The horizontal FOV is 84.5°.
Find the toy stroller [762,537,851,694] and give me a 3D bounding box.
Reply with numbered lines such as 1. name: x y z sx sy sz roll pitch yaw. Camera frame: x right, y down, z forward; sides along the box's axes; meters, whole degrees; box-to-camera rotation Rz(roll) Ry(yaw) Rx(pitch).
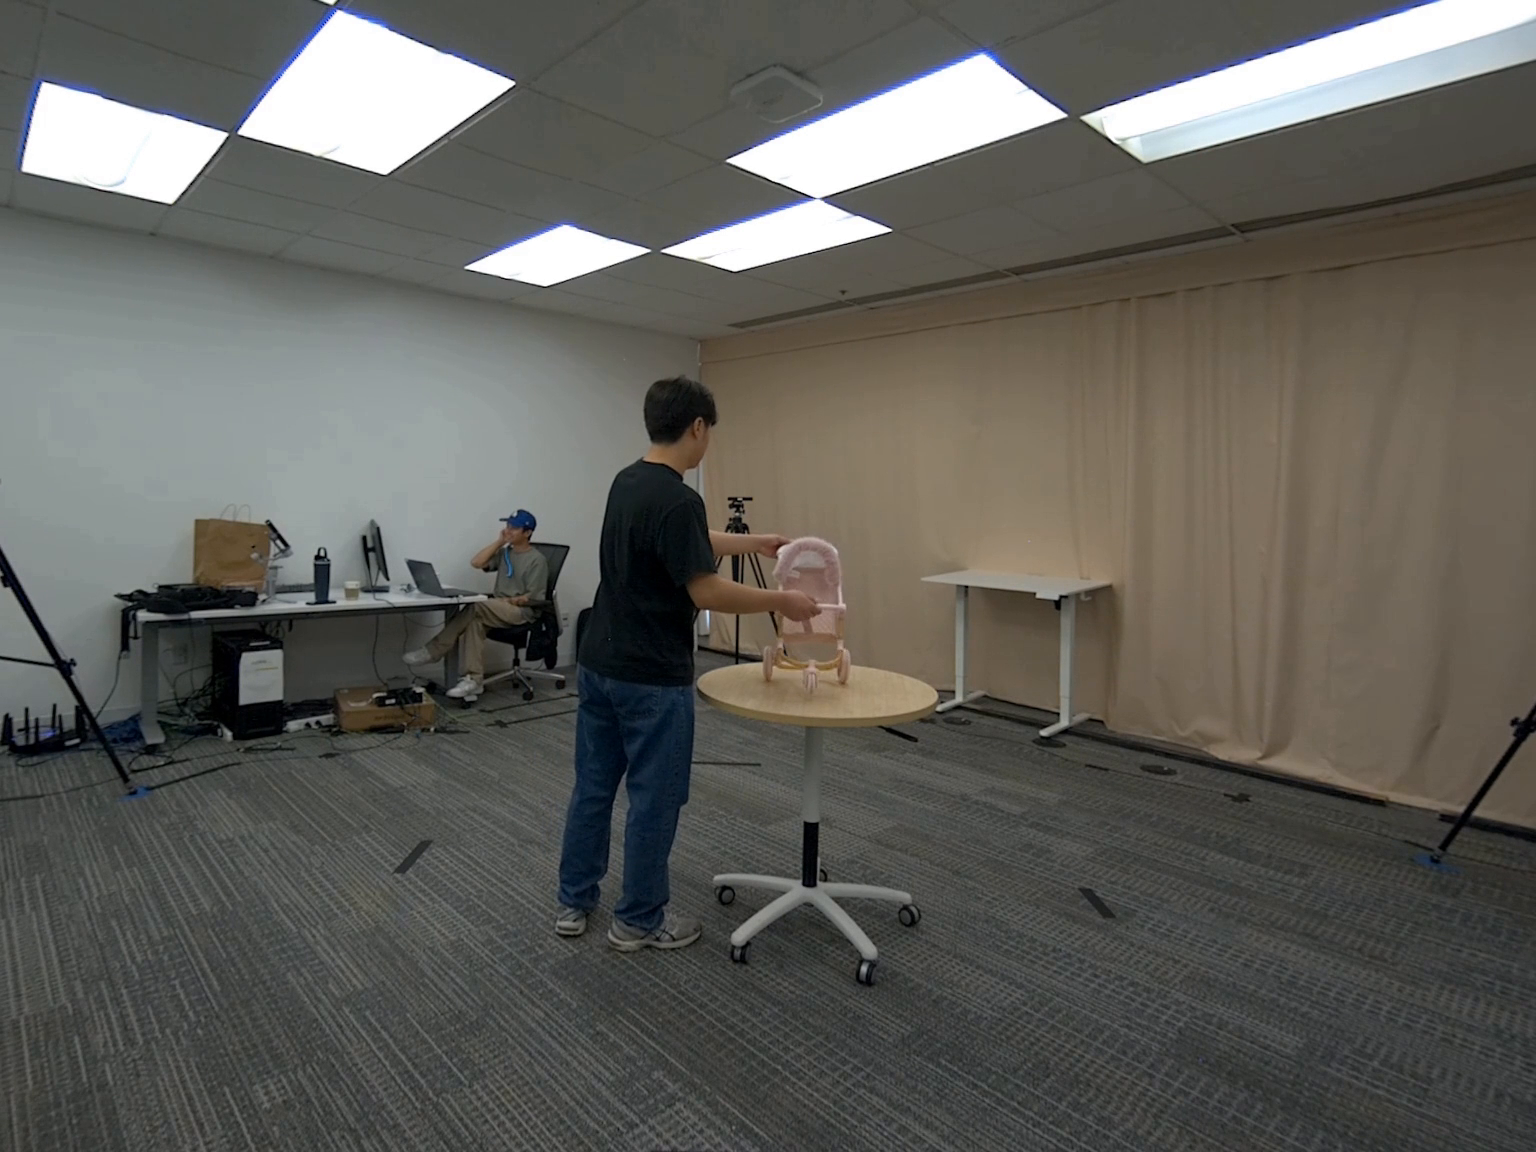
1. toy stroller: 0.117 0.117 2.684 0.282 0.540 0.337 1 -13 4
